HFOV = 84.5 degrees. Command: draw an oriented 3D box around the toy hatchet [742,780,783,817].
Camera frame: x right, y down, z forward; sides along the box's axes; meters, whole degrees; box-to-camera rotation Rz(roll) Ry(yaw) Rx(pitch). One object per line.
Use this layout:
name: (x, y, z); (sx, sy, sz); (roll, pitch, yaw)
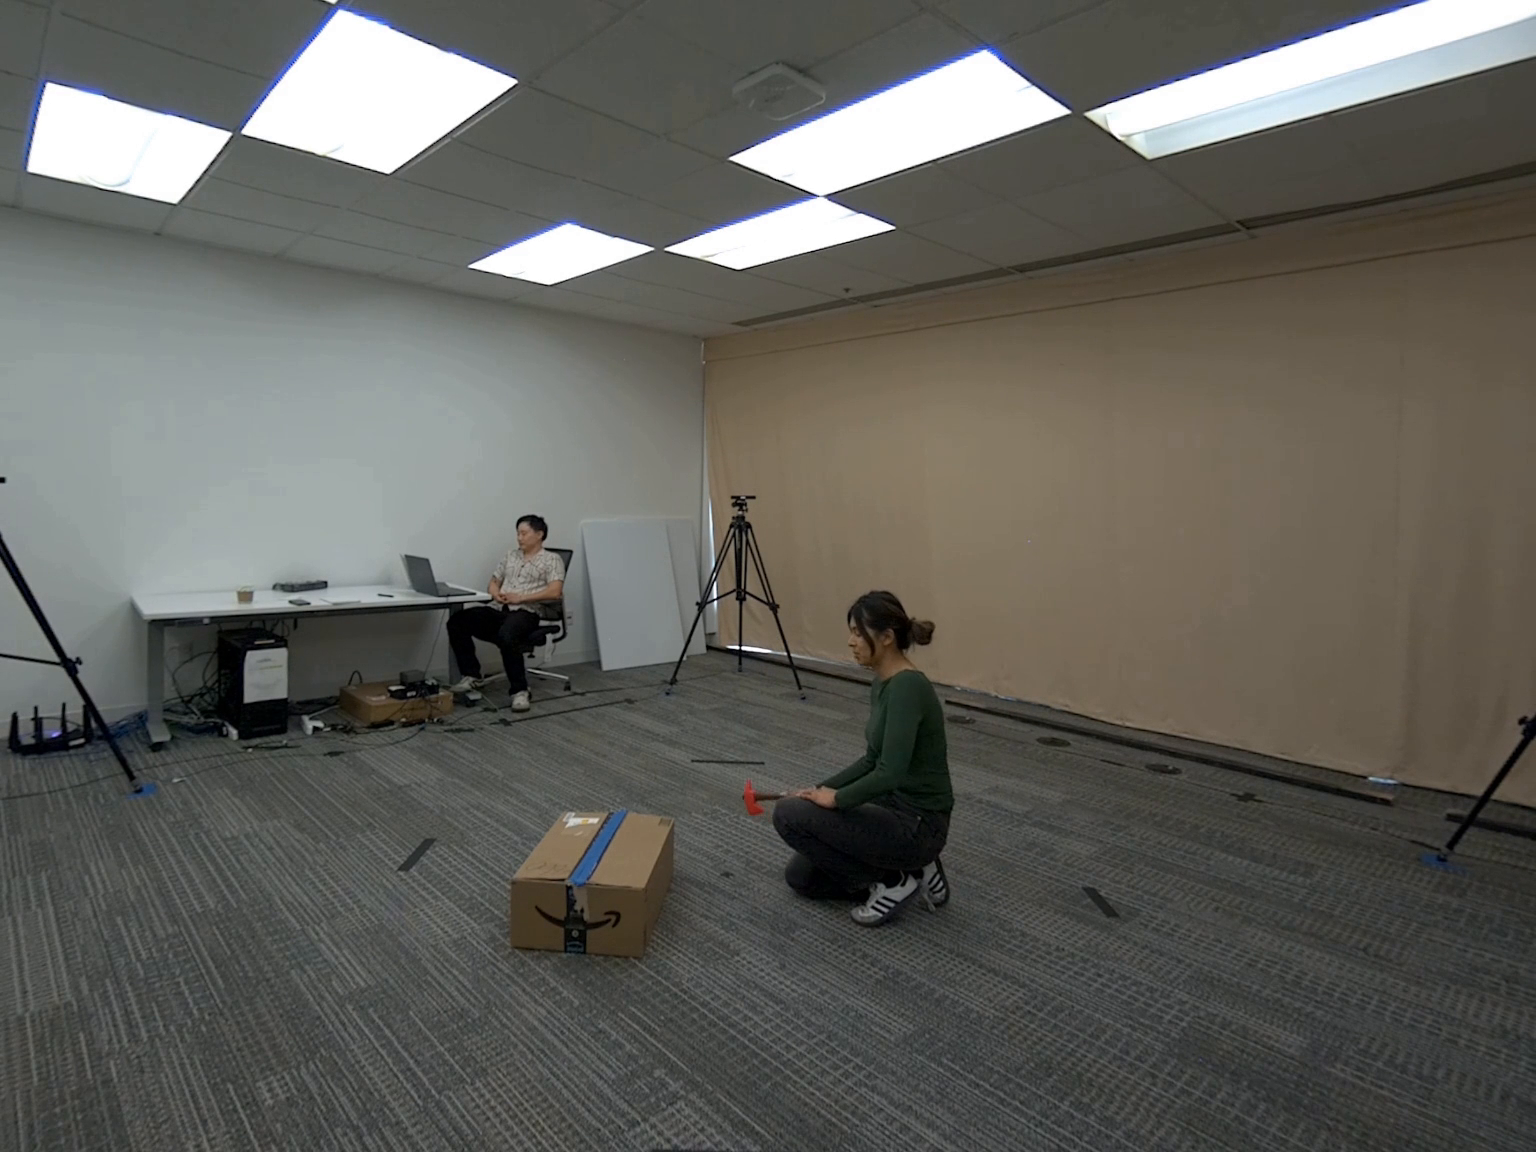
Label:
toy hatchet: (0.023, 0.865, 3.158); (0.275, 0.131, 0.029); (11, 2, 19)
